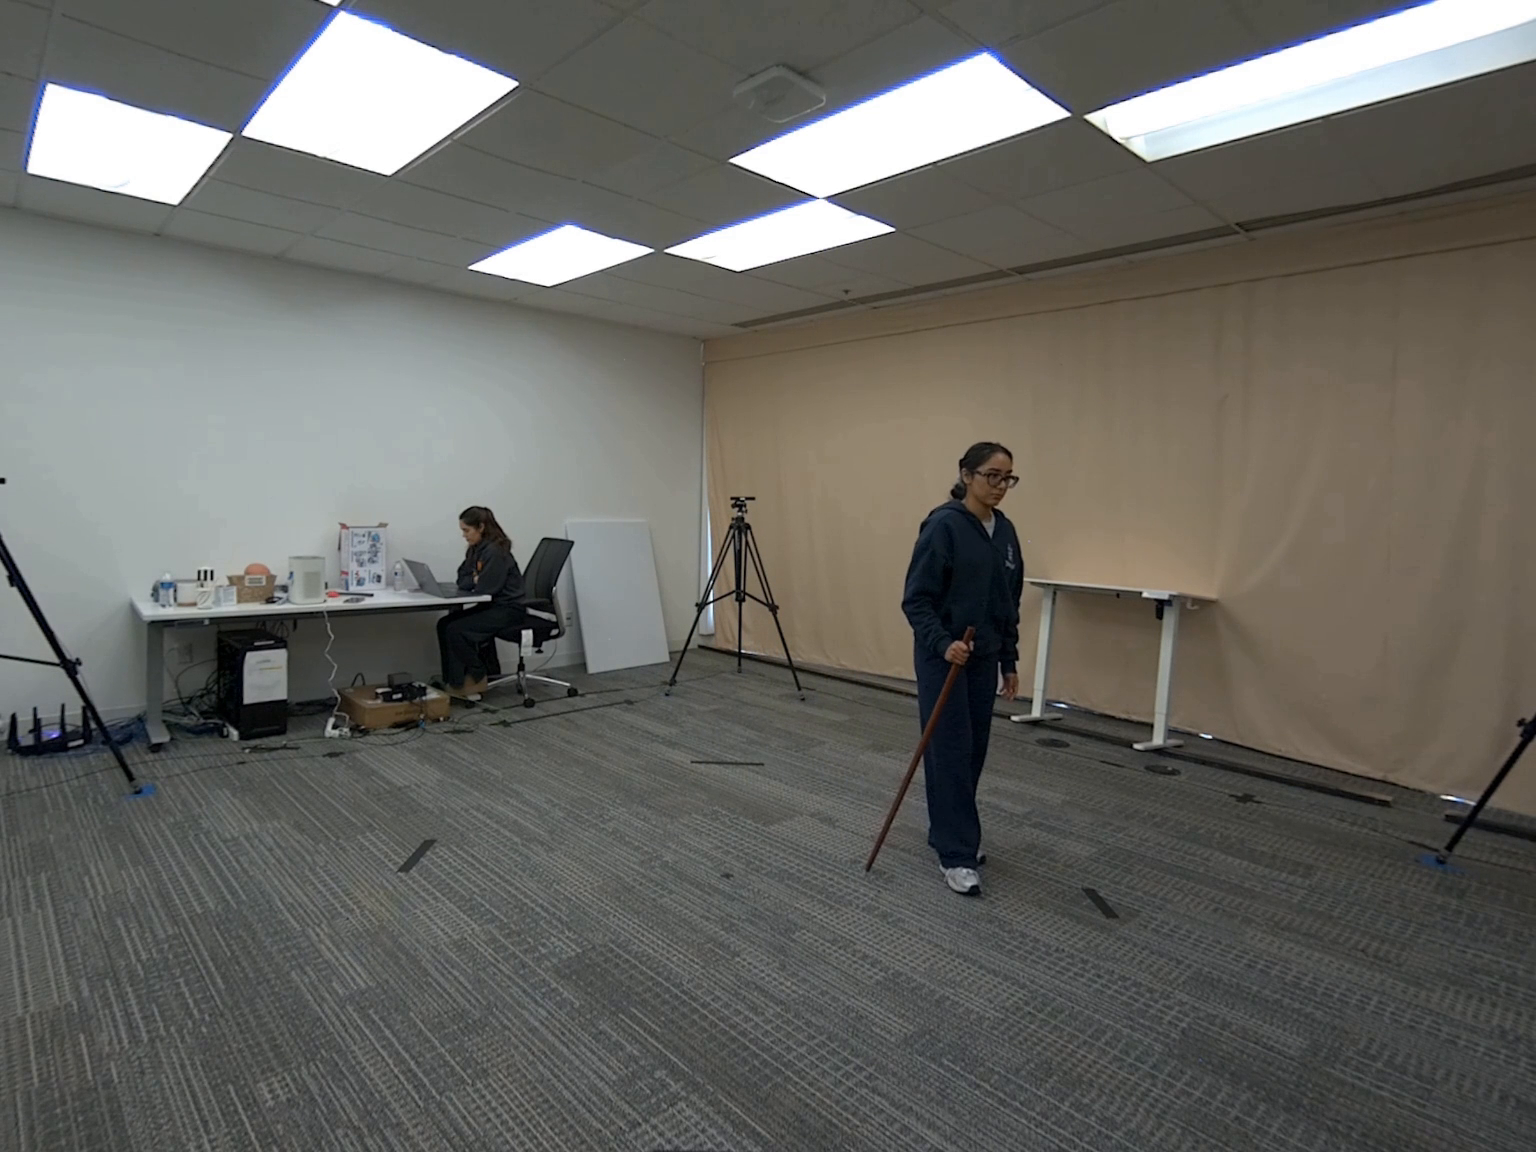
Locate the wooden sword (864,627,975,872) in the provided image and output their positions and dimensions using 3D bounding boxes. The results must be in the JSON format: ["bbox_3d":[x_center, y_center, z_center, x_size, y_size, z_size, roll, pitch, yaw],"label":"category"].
[{"bbox_3d":[0.527,0.655,3.060,0.050,1.017,0.025,9,18,-33],"label":"wooden sword"}]
